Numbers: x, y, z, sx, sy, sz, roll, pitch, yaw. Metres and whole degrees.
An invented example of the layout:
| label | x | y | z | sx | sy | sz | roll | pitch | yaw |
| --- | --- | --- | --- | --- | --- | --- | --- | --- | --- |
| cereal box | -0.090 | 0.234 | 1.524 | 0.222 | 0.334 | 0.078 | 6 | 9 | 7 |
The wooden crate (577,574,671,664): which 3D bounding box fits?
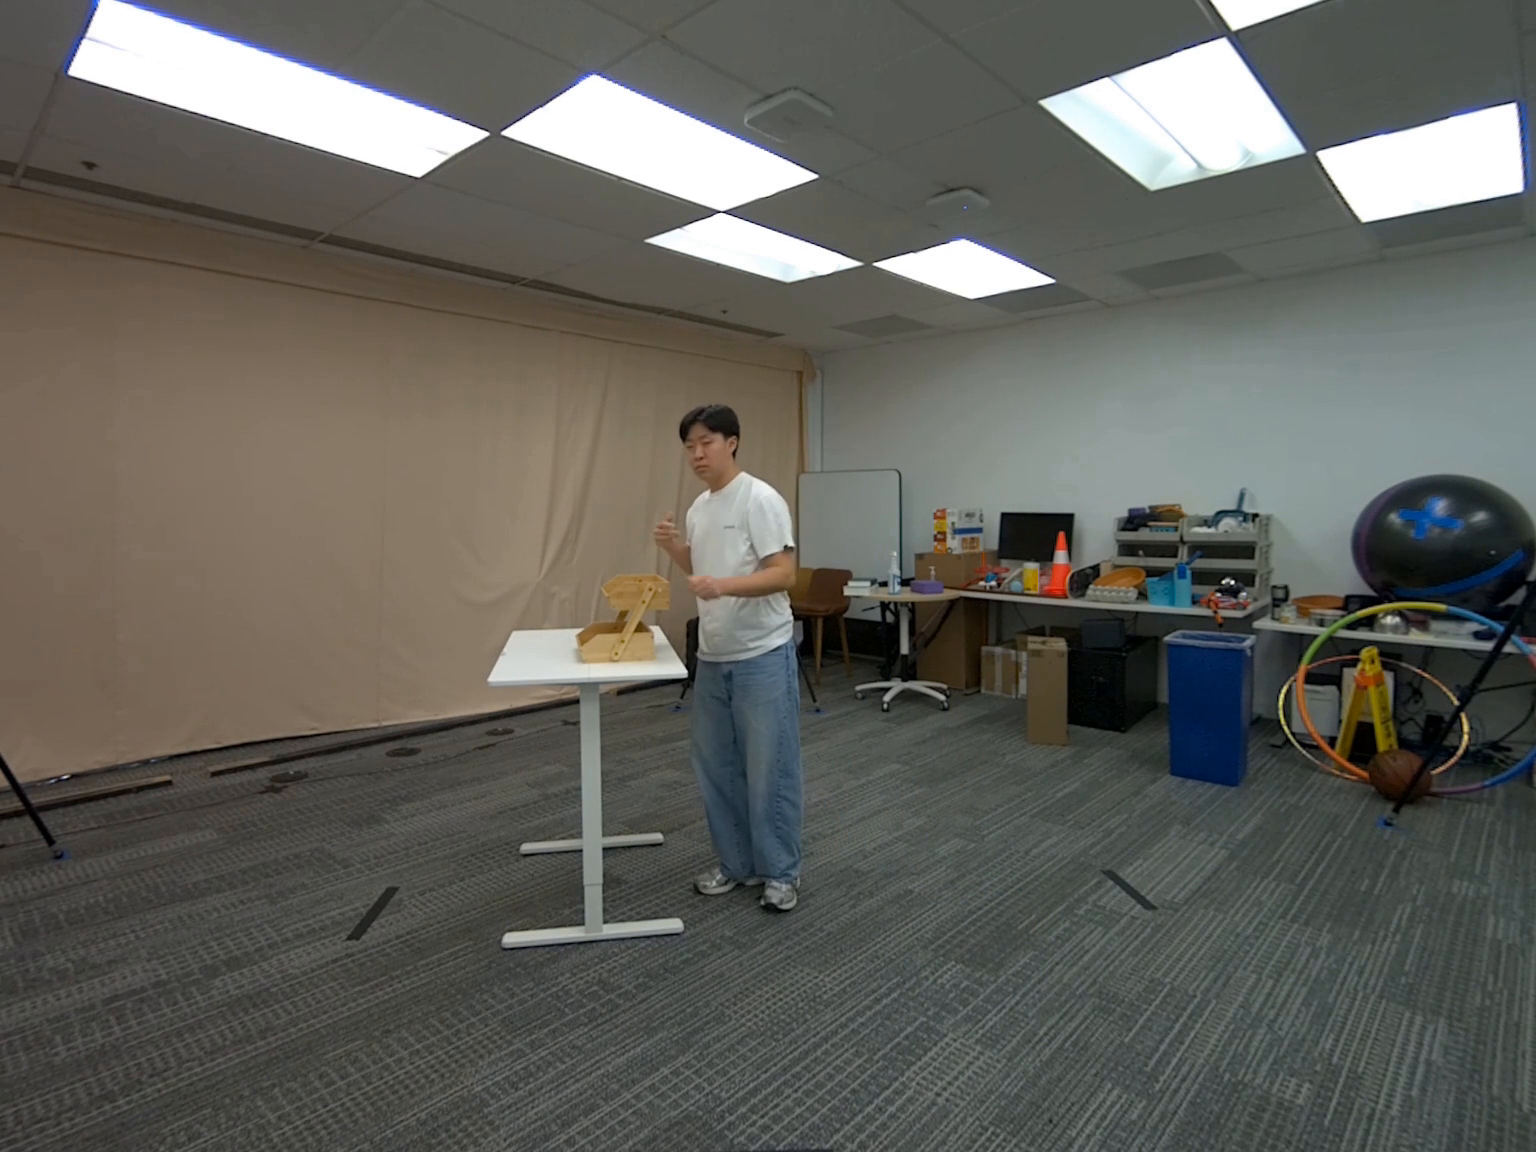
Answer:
| label | x | y | z | sx | sy | sz | roll | pitch | yaw |
| --- | --- | --- | --- | --- | --- | --- | --- | --- | --- |
| wooden crate | -0.511 | 0.142 | 2.926 | 0.298 | 0.272 | 0.329 | 0 | 5 | -13 |
